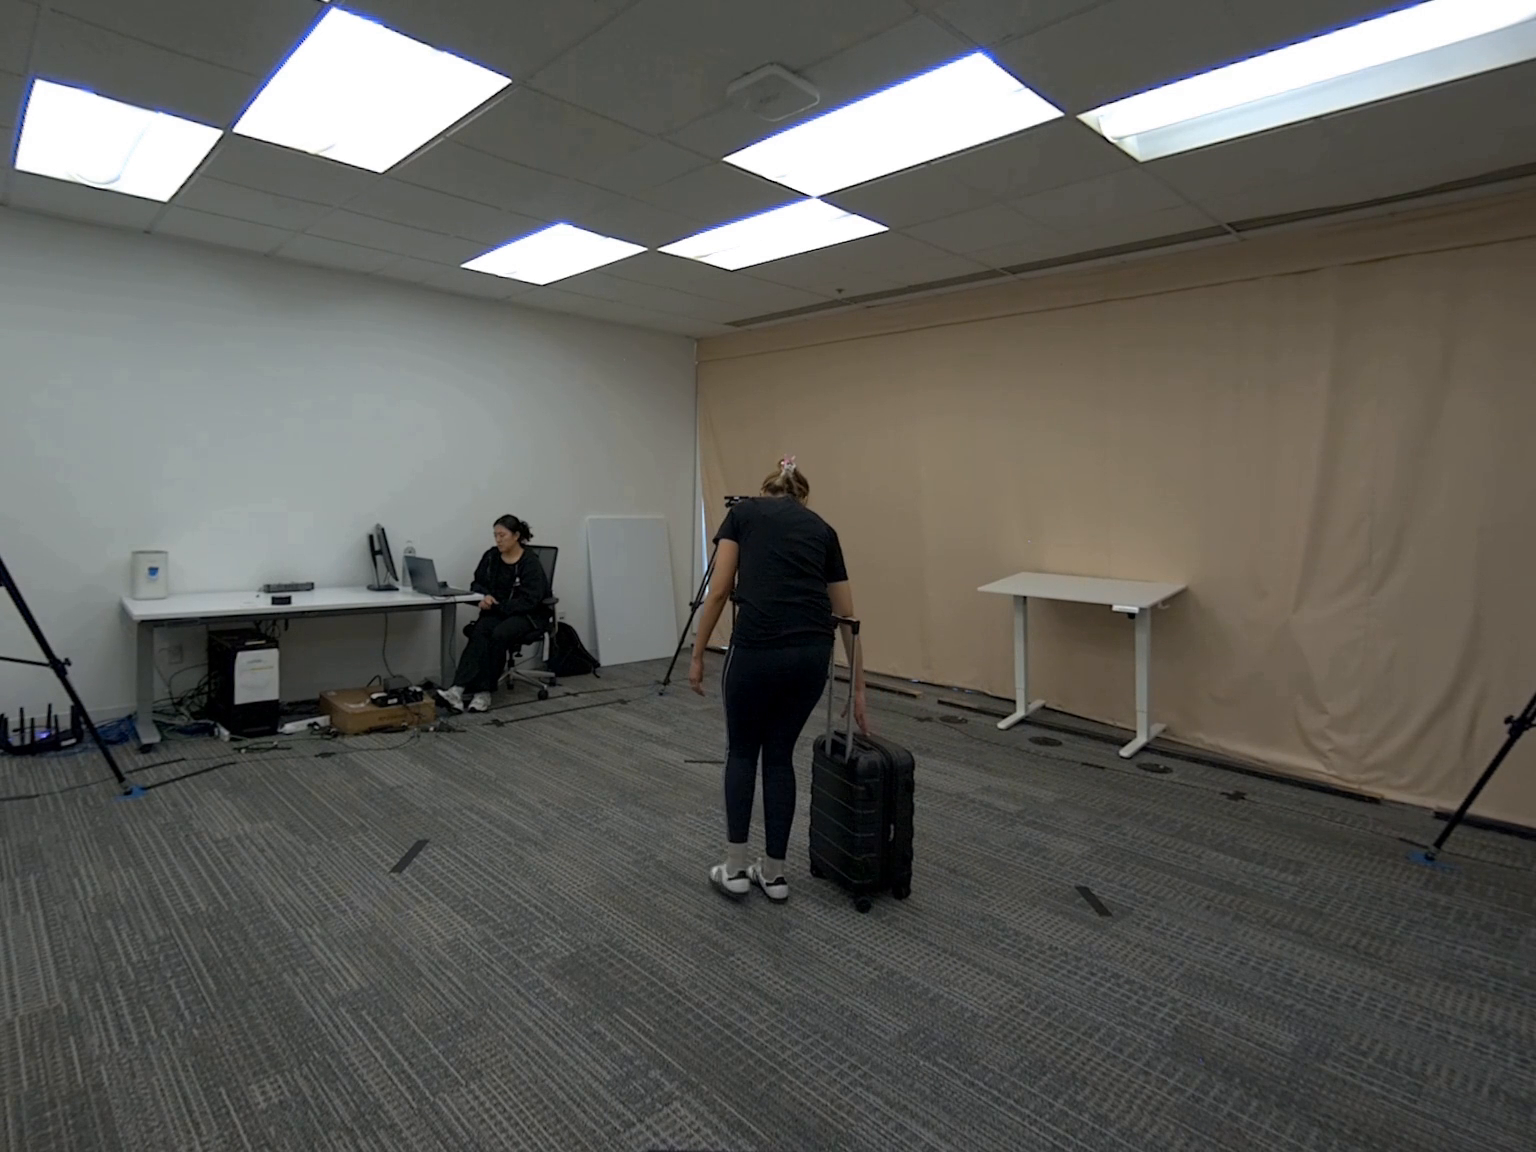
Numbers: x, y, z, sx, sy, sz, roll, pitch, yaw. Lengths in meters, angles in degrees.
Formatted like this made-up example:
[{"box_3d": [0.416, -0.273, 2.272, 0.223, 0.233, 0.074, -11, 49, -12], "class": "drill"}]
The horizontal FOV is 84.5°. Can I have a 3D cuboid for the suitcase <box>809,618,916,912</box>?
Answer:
[{"box_3d": [0.347, 0.646, 3.014, 0.252, 0.977, 0.391, 2, 3, -24], "class": "suitcase"}]
